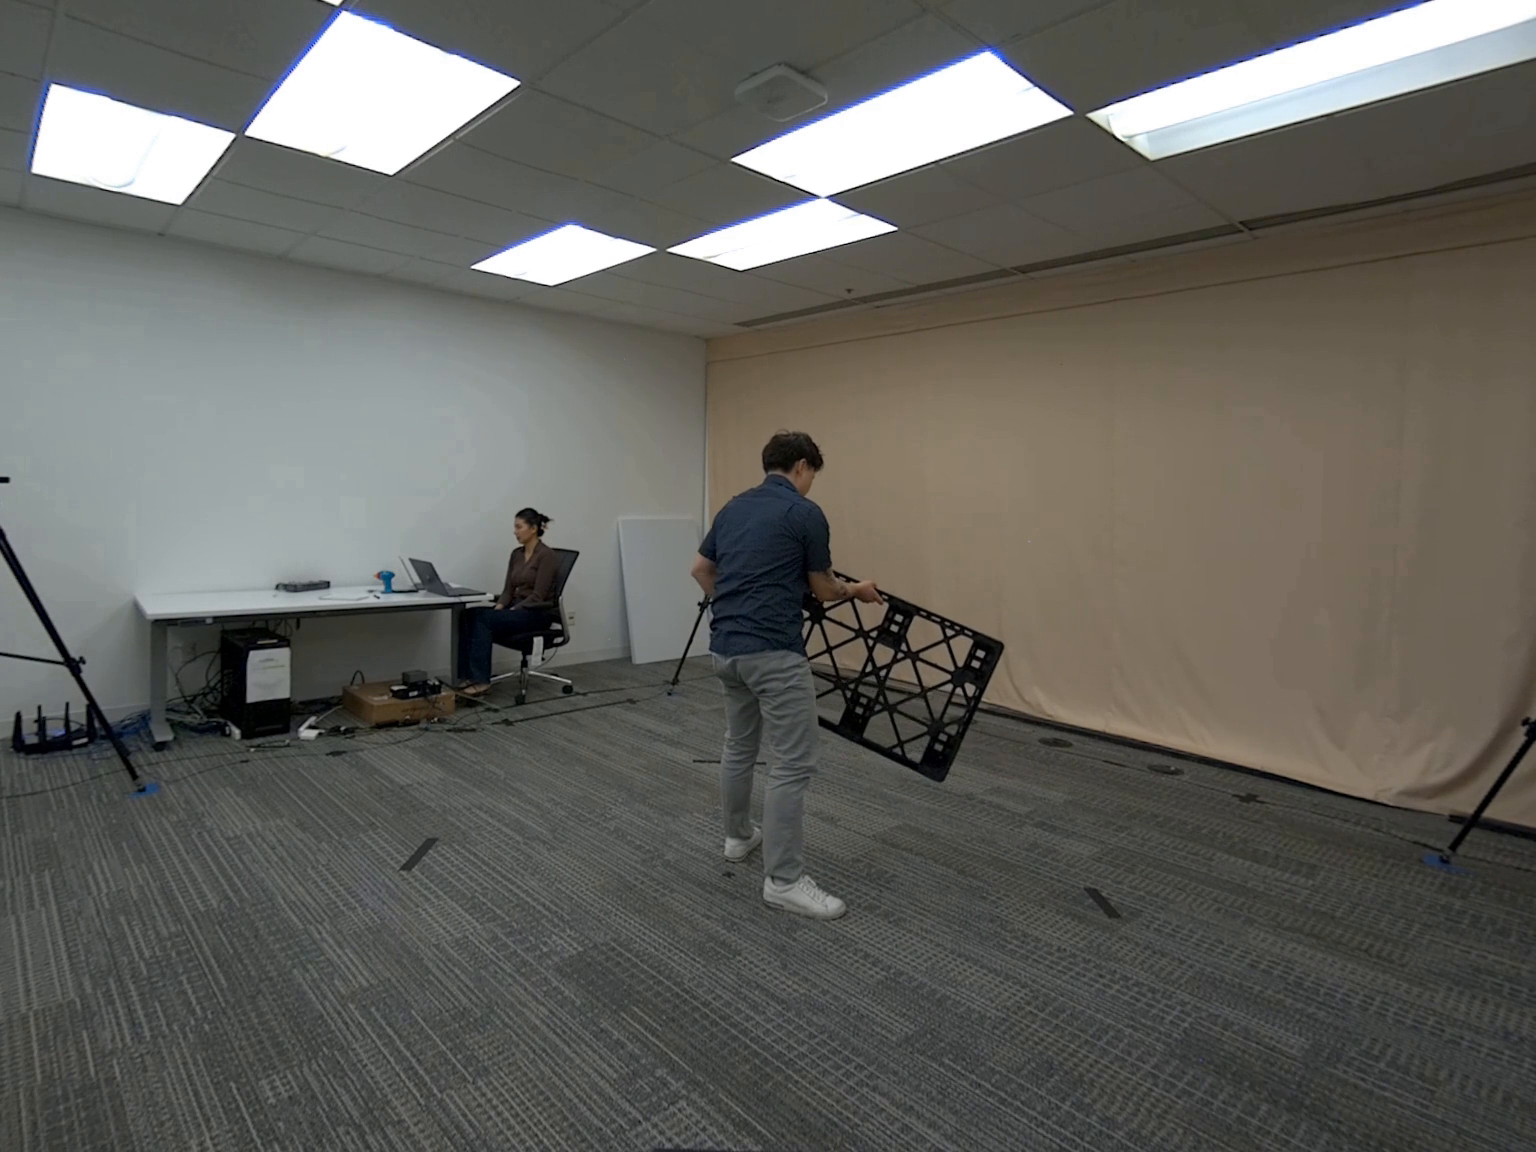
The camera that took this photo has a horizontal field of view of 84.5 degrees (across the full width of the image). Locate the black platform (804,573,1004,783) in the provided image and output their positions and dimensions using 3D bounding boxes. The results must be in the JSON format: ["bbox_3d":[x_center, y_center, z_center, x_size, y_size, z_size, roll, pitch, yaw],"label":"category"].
[{"bbox_3d":[0.429,0.369,3.335,0.816,0.603,0.142,24,9,13],"label":"black platform"}]
